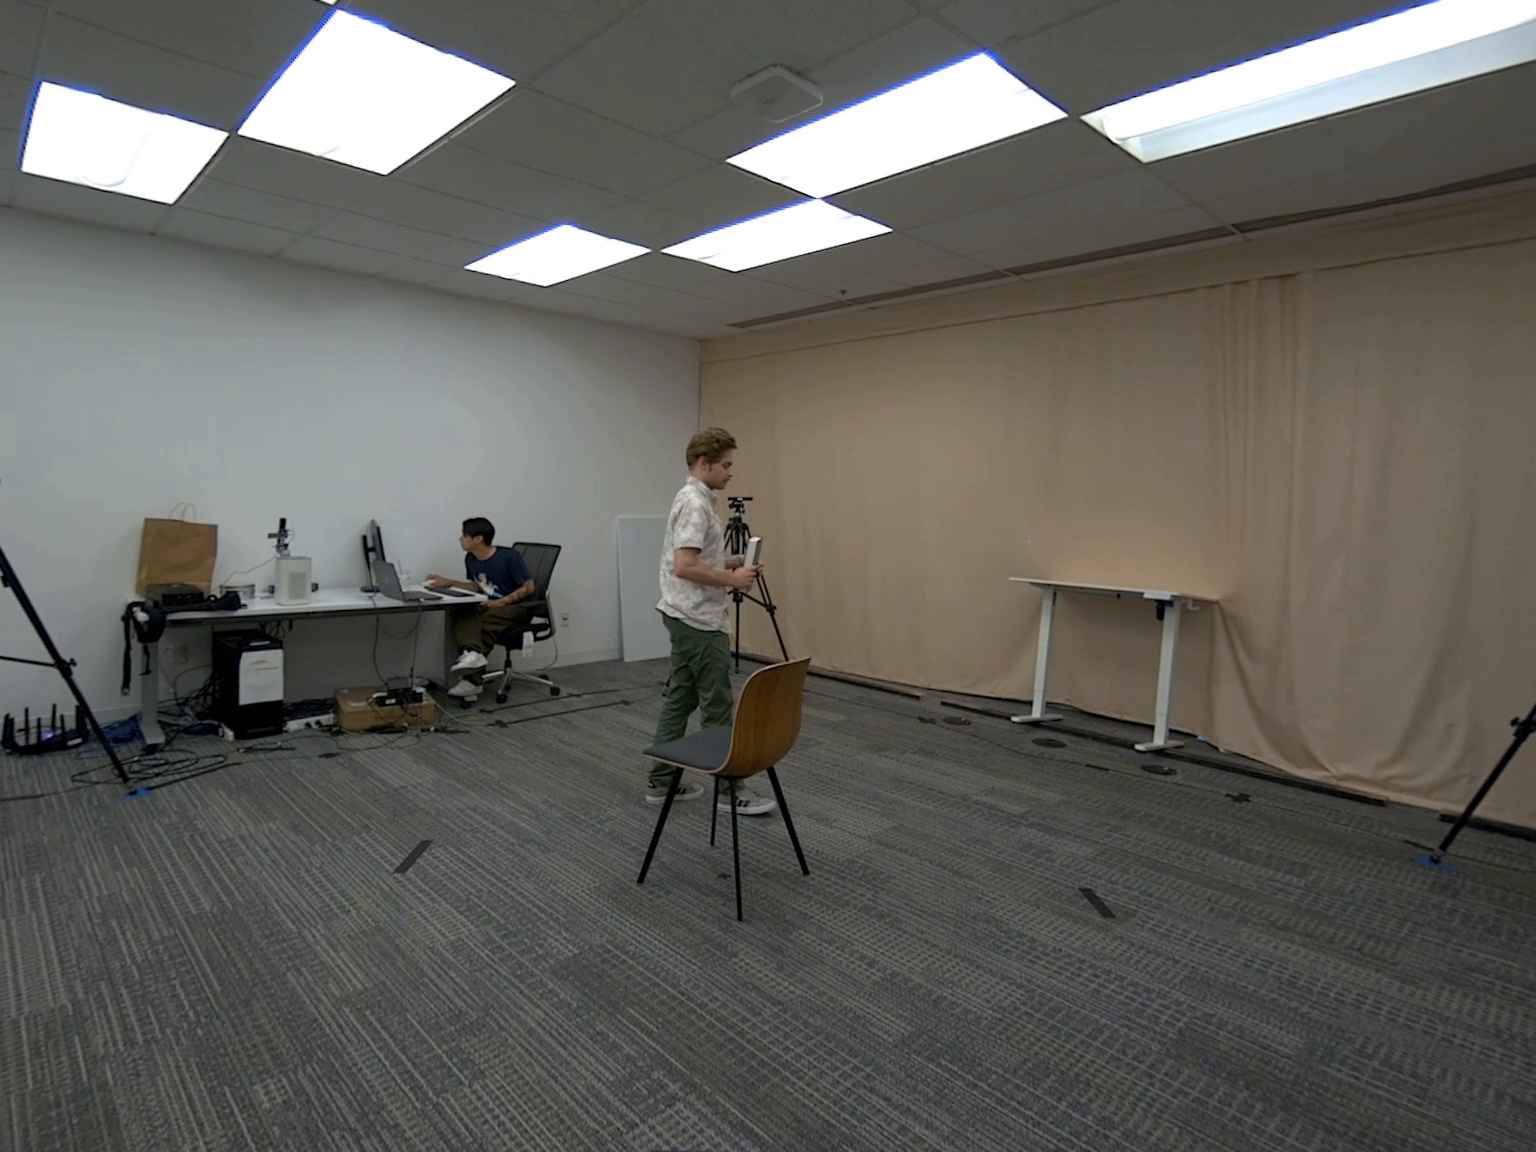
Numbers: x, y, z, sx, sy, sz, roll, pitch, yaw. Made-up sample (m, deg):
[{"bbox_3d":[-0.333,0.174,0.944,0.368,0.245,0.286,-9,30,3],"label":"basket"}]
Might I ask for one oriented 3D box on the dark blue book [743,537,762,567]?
[{"bbox_3d":[-0.086,-0.057,3.814,0.045,0.244,0.163,16,8,7],"label":"dark blue book"}]
